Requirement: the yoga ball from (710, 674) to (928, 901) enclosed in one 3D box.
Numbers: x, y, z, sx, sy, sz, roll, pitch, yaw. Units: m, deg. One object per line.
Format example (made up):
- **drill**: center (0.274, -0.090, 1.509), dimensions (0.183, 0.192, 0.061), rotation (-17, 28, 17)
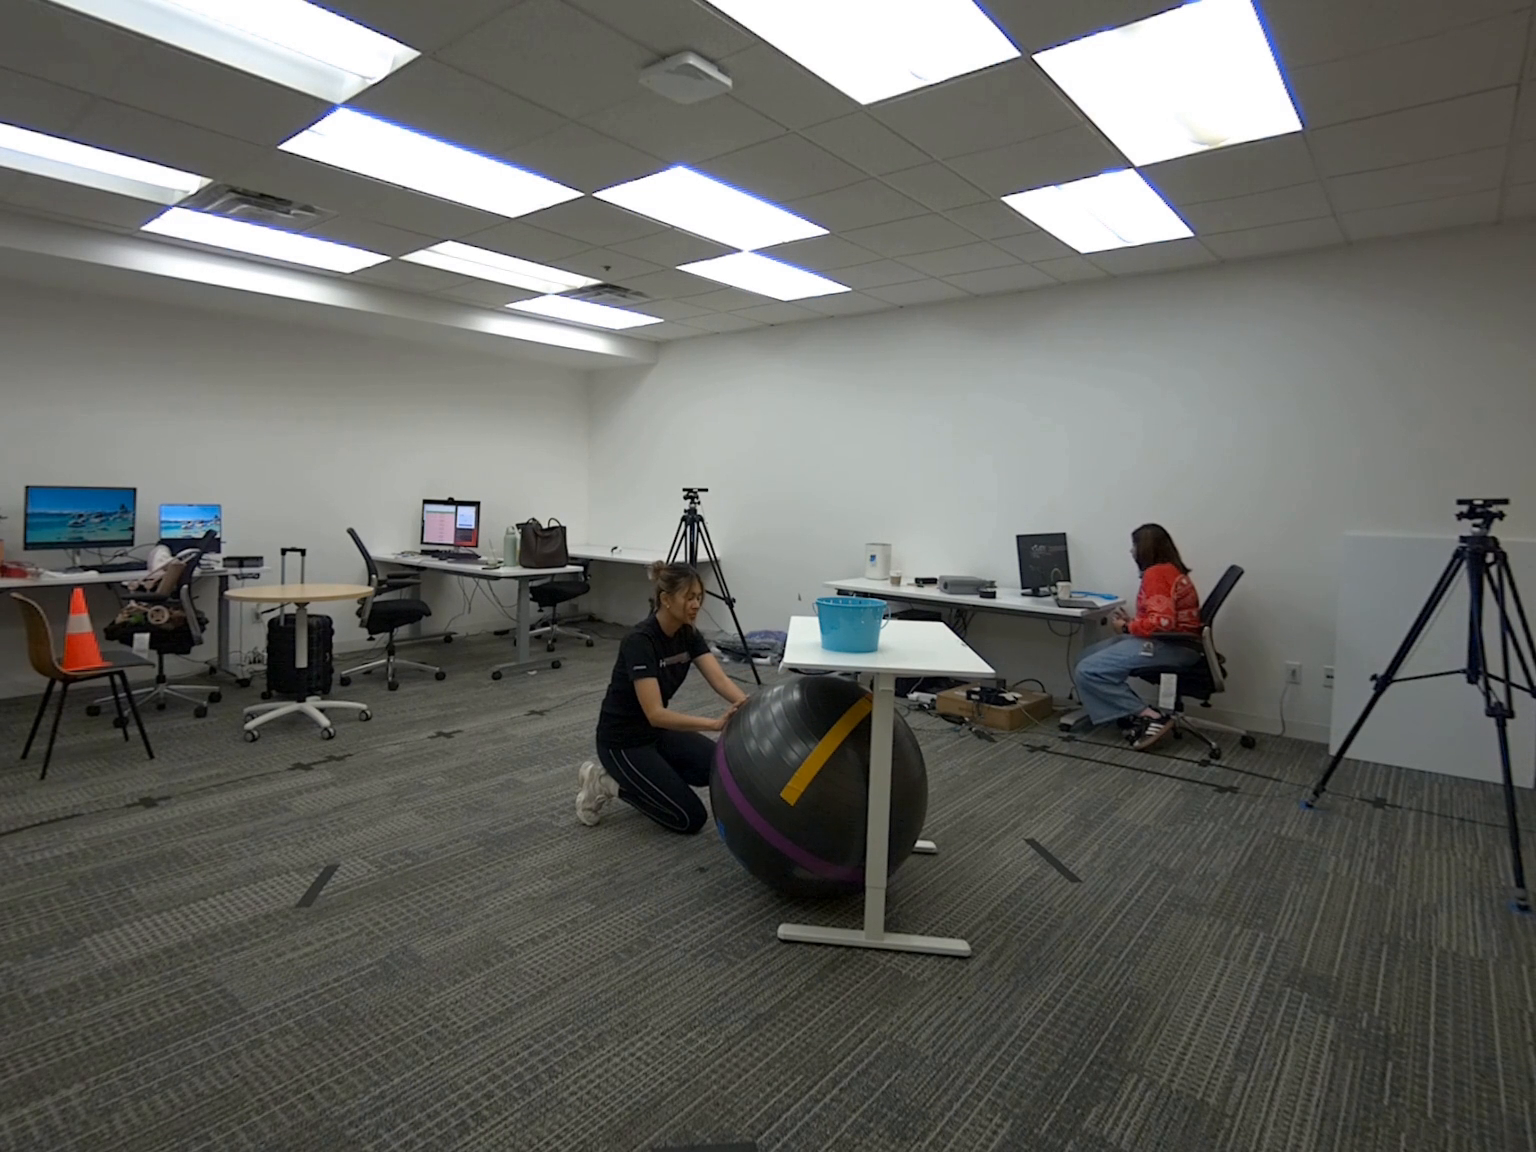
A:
- **yoga ball**: center (0.173, 0.738, 2.977), dimensions (0.757, 0.756, 0.762), rotation (1, 4, -2)
